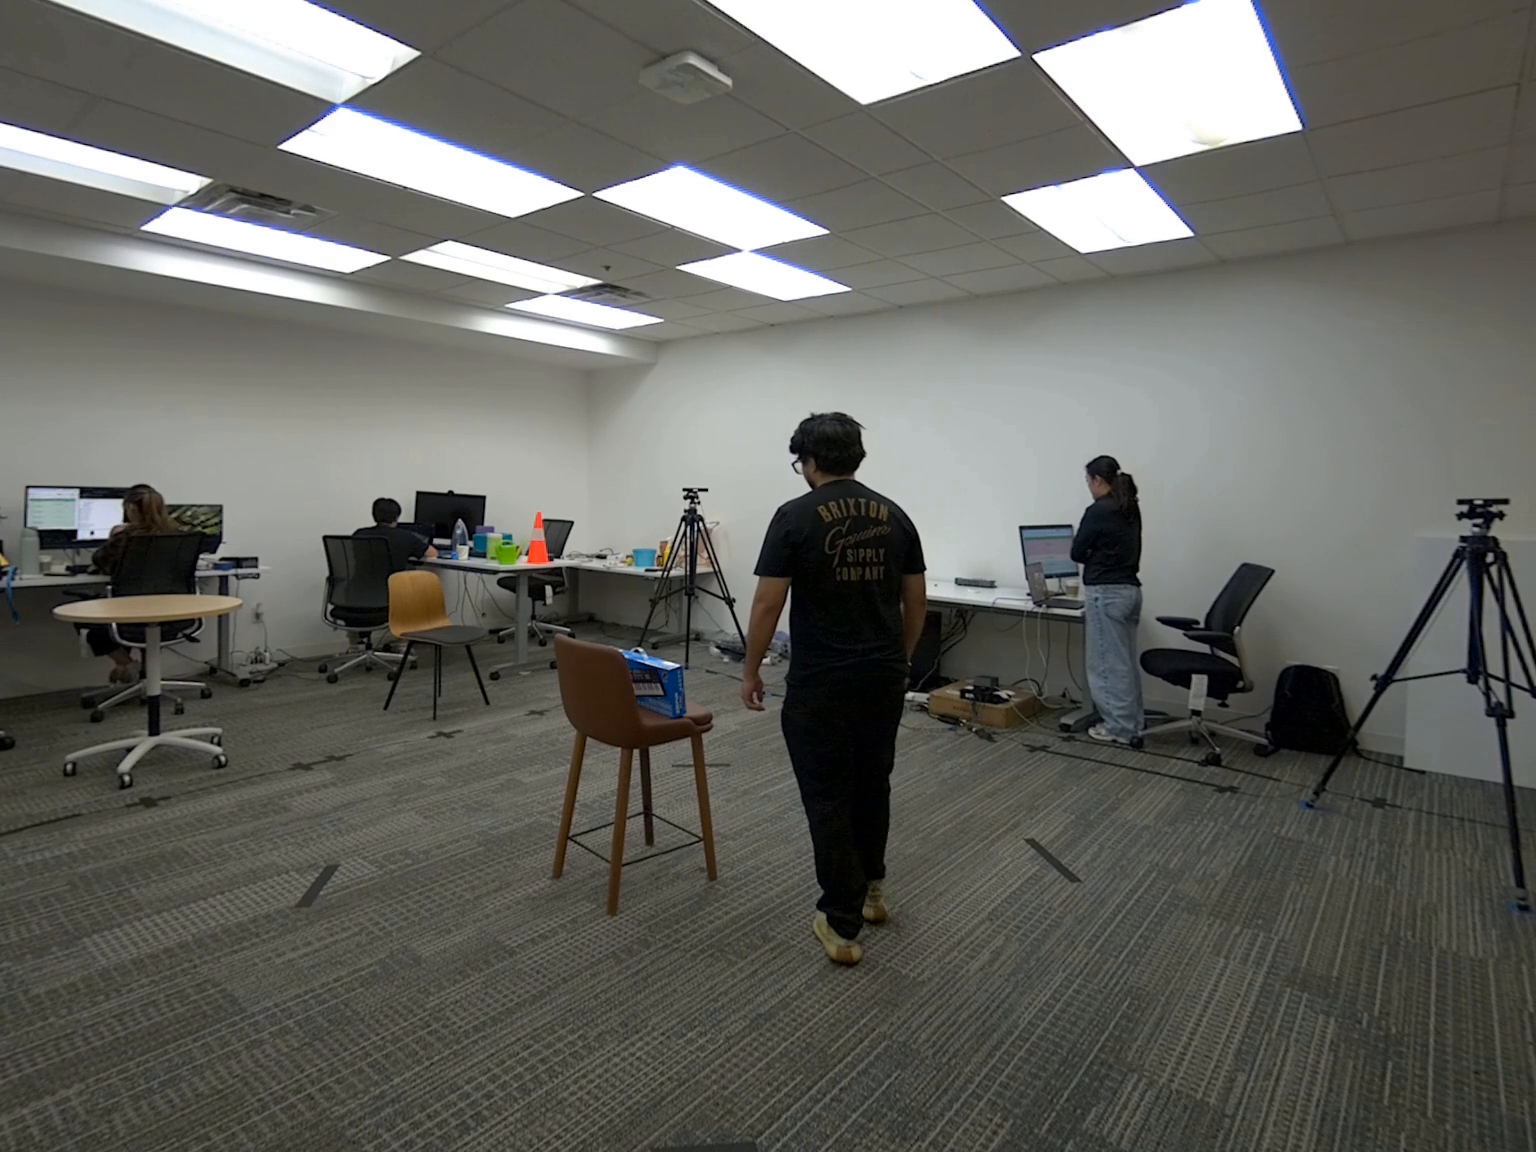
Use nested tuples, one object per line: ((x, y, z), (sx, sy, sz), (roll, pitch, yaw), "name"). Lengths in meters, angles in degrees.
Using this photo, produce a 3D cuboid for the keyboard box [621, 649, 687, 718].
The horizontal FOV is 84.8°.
((-0.466, 0.371, 3.038), (0.057, 0.174, 0.452), (-11, 12, -42), "keyboard box")
